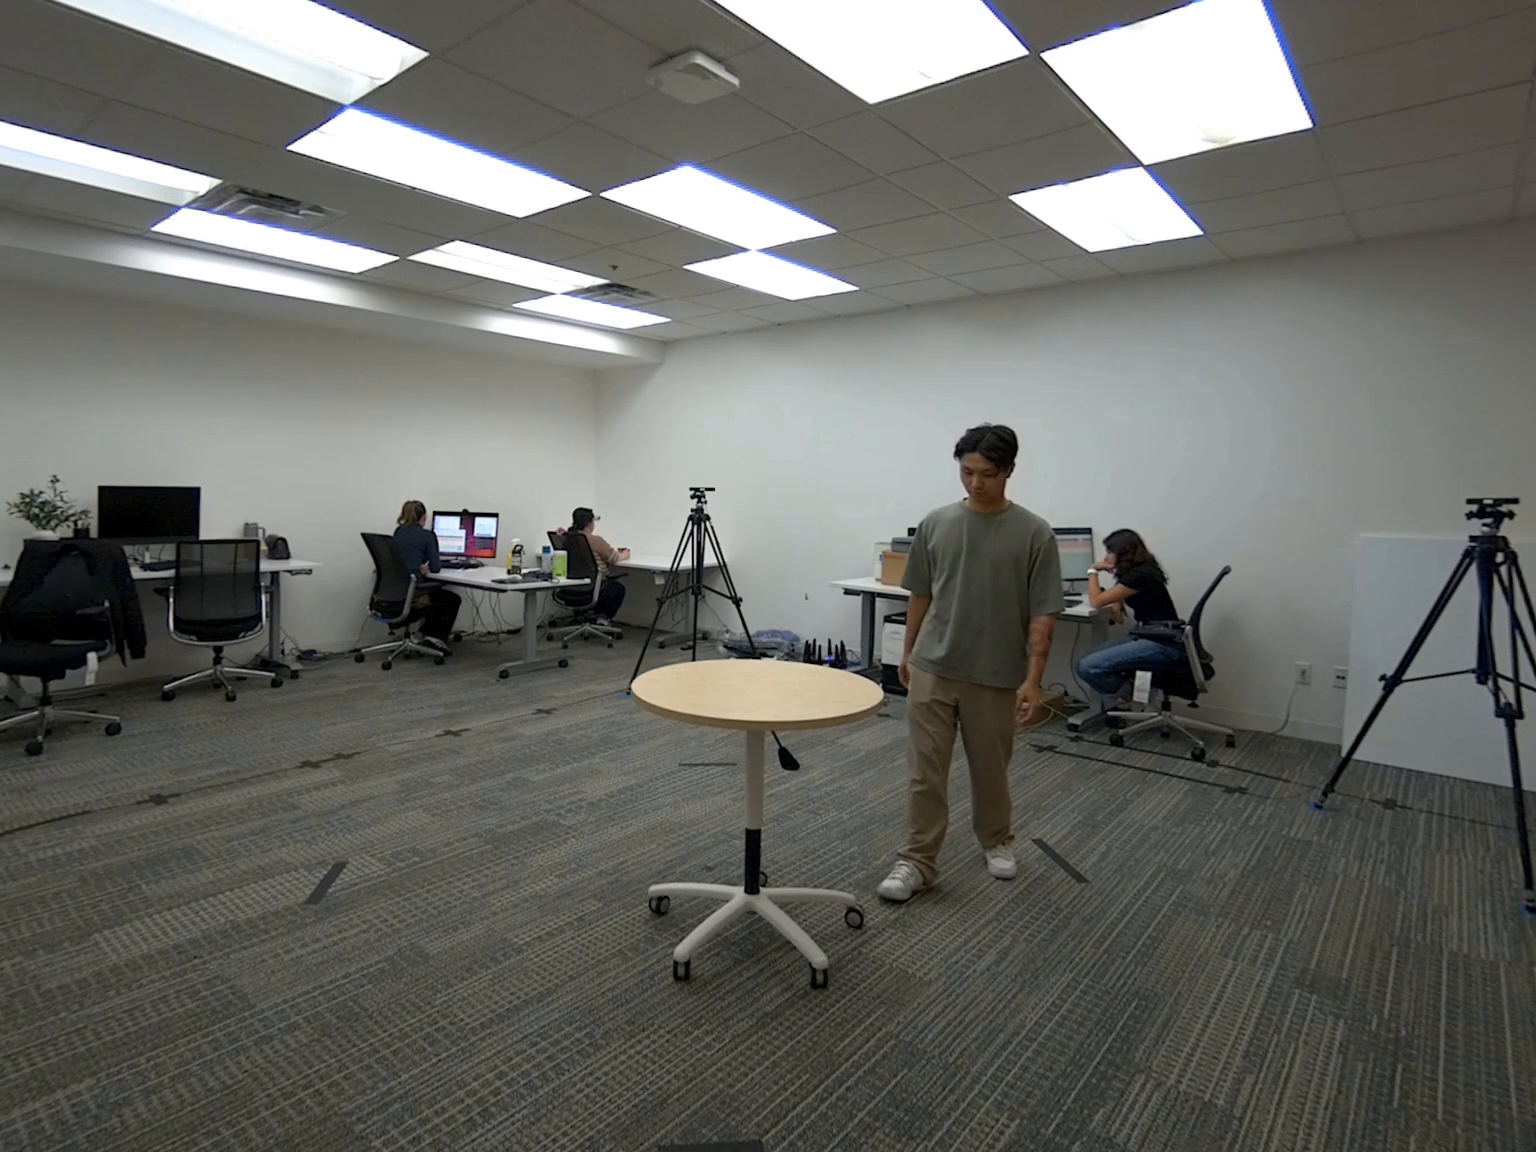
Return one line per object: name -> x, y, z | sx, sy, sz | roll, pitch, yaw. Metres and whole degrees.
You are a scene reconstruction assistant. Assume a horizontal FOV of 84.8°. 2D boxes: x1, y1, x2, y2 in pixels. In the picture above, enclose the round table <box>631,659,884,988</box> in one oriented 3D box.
round table -> -0.044, 0.725, 2.613 | 0.784, 0.784, 0.789 | 1, 4, -2
